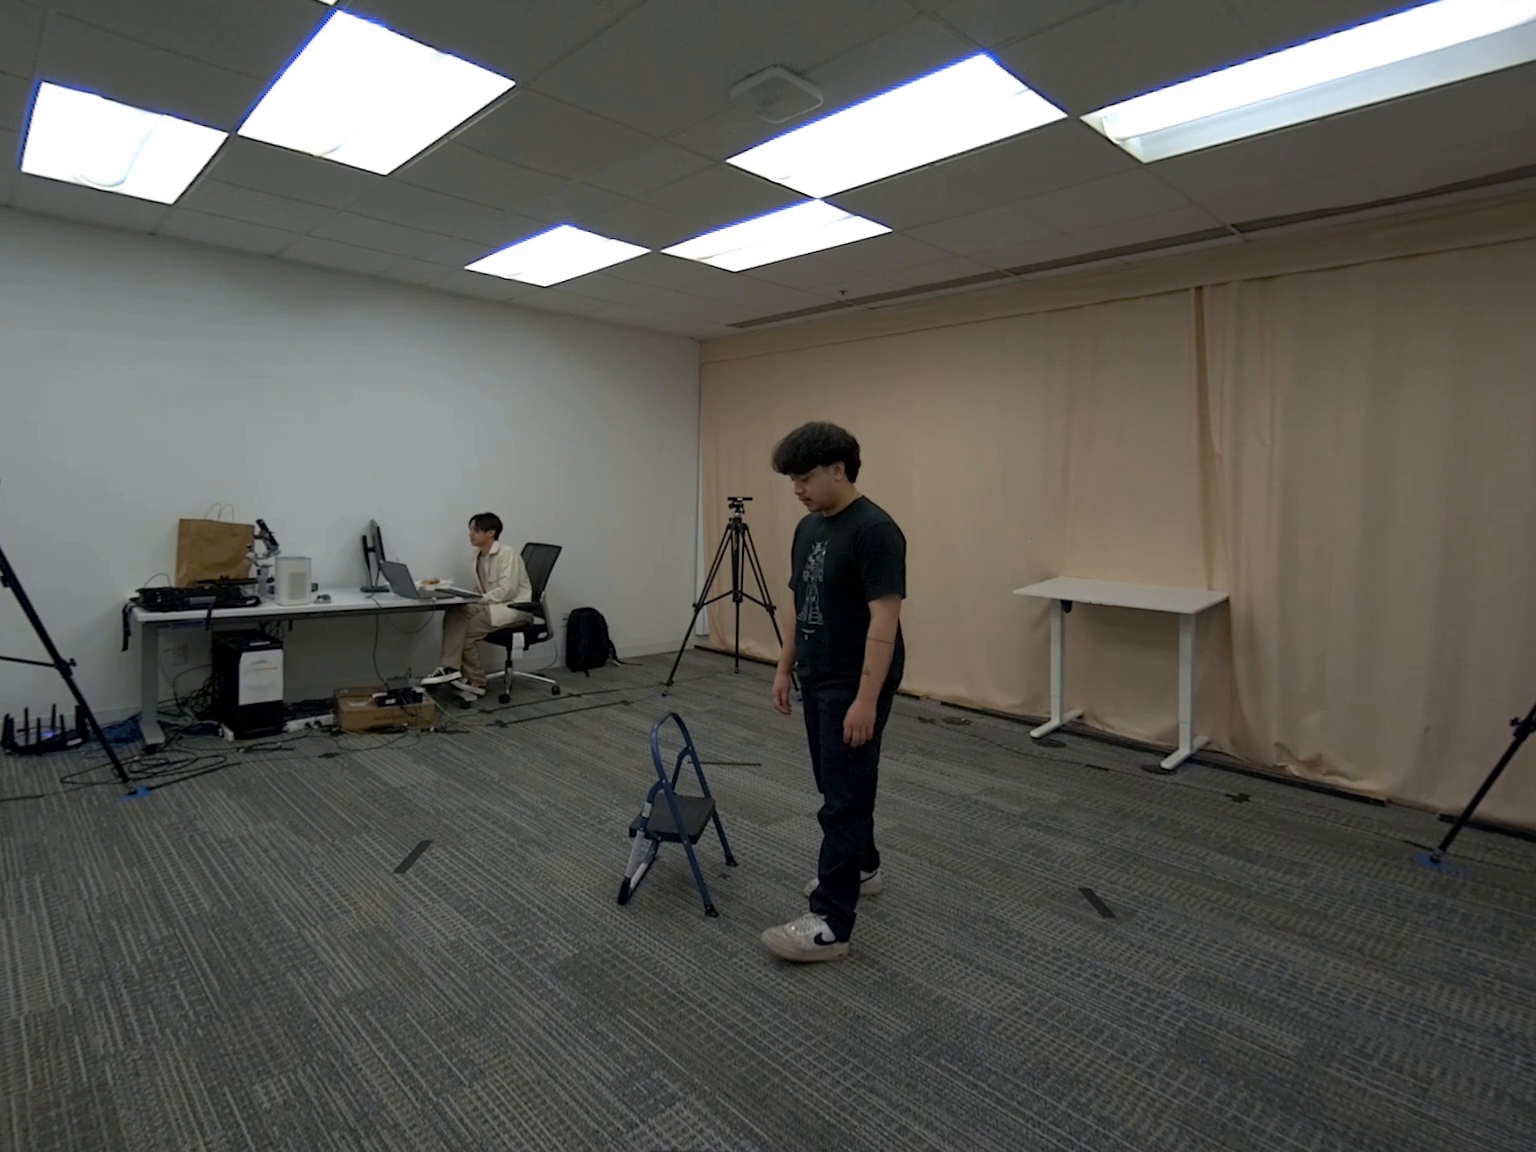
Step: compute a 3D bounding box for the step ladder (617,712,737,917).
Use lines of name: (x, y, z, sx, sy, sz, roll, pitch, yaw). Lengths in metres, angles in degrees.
step ladder: (-0.318, 0.812, 3.022, 0.352, 0.604, 0.428, 2, 4, 8)
